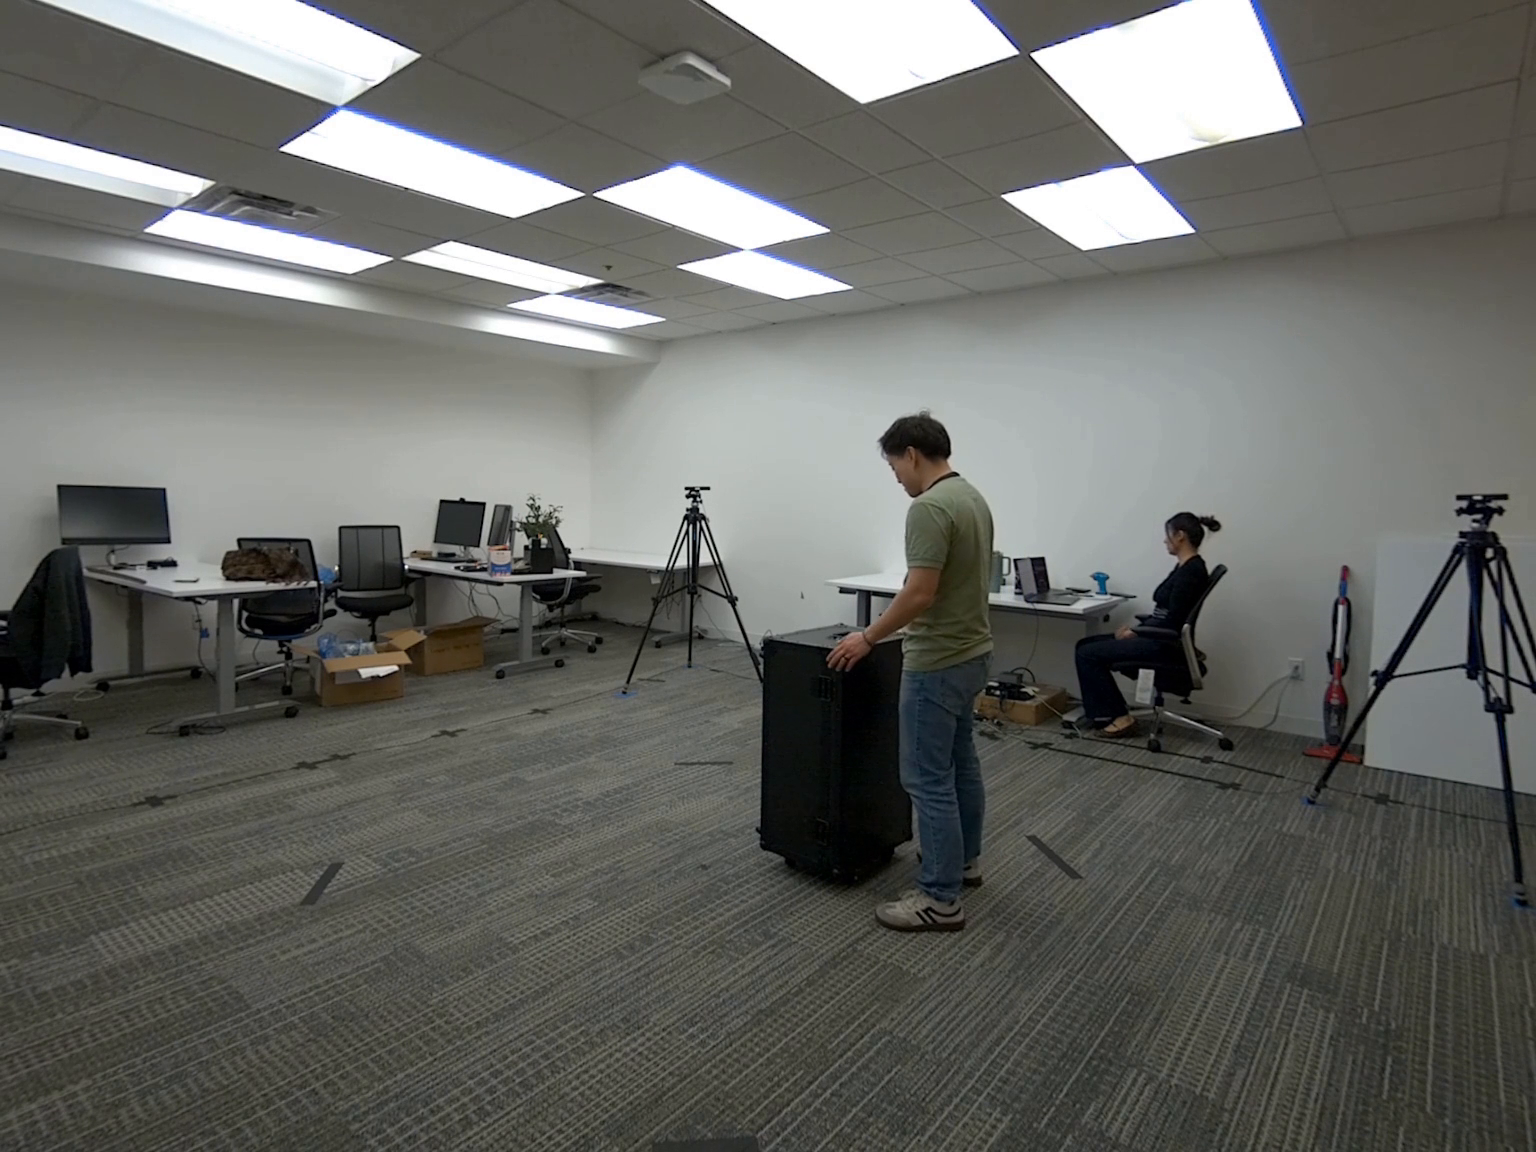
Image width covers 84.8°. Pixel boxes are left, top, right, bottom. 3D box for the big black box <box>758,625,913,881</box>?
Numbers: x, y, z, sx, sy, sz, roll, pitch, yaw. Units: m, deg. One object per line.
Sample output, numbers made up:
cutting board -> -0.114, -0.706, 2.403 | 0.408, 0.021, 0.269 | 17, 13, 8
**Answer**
big black box -> 0.243, 0.640, 3.166 | 0.409, 0.859, 0.505 | 3, 4, 42
